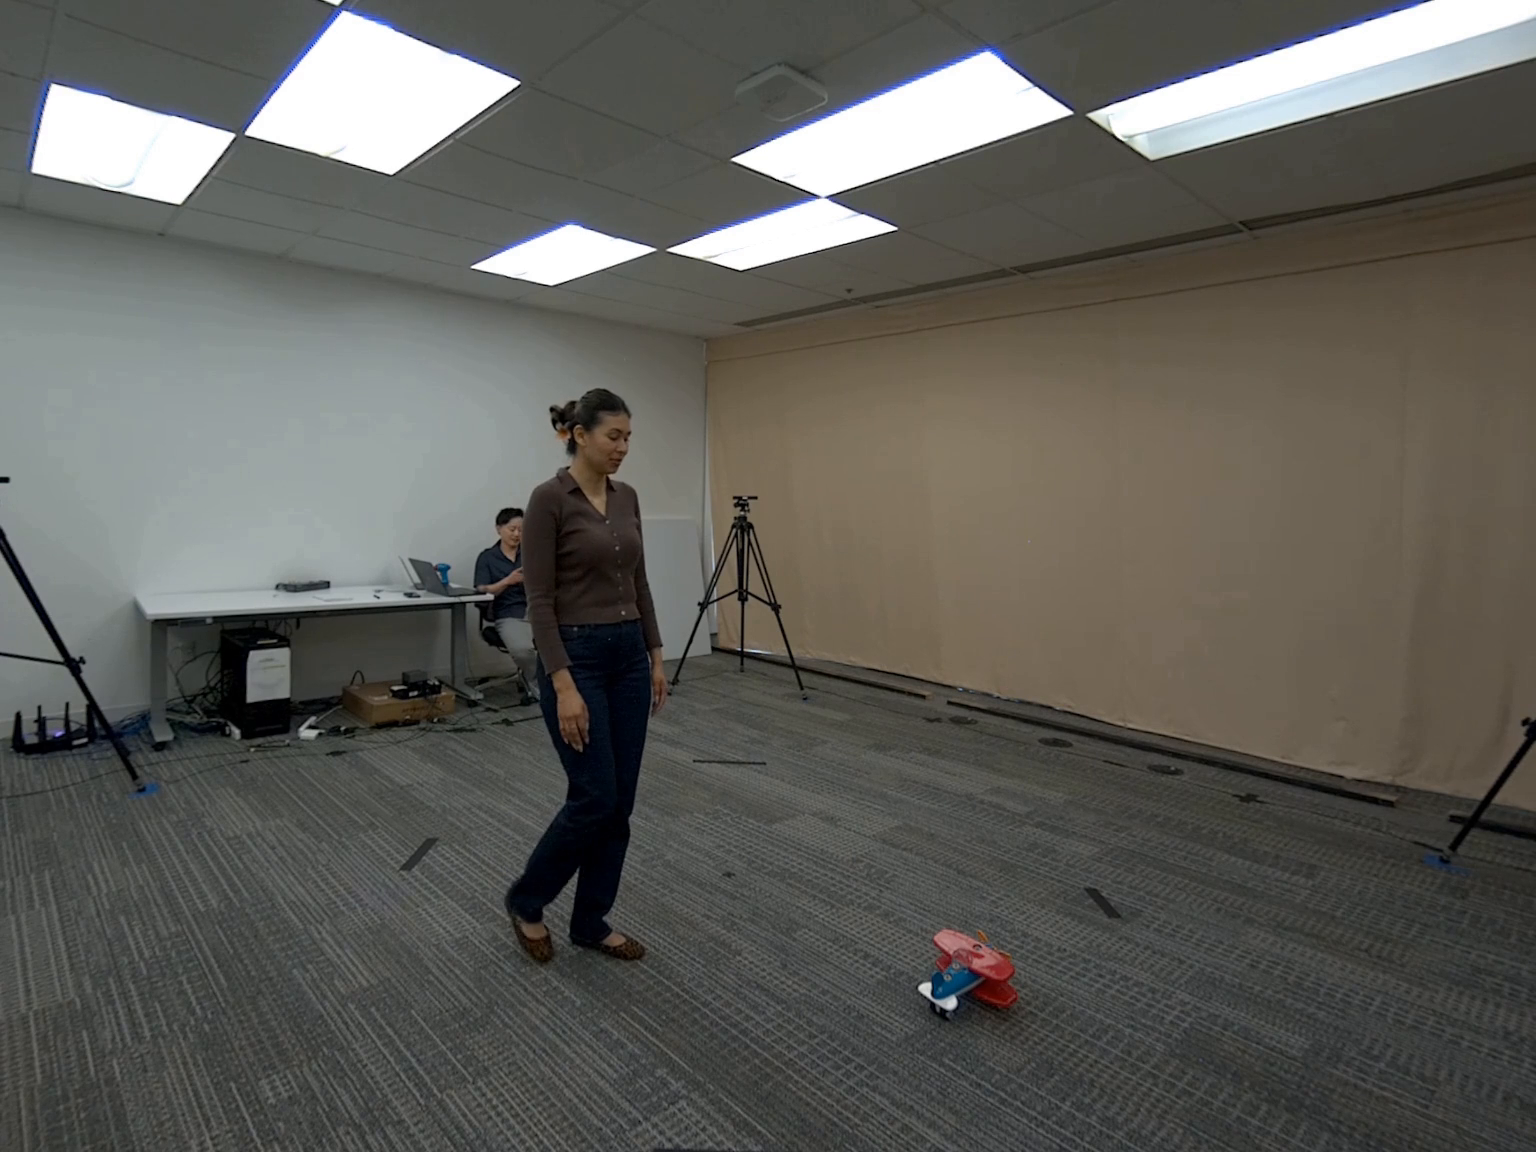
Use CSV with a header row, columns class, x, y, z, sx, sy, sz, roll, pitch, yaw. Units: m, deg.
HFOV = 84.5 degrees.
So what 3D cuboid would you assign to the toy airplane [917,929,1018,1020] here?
class,x,y,z,sx,sy,sz,roll,pitch,yaw
toy airplane,0.556,1.120,2.320,0.256,0.156,0.254,5,5,27
